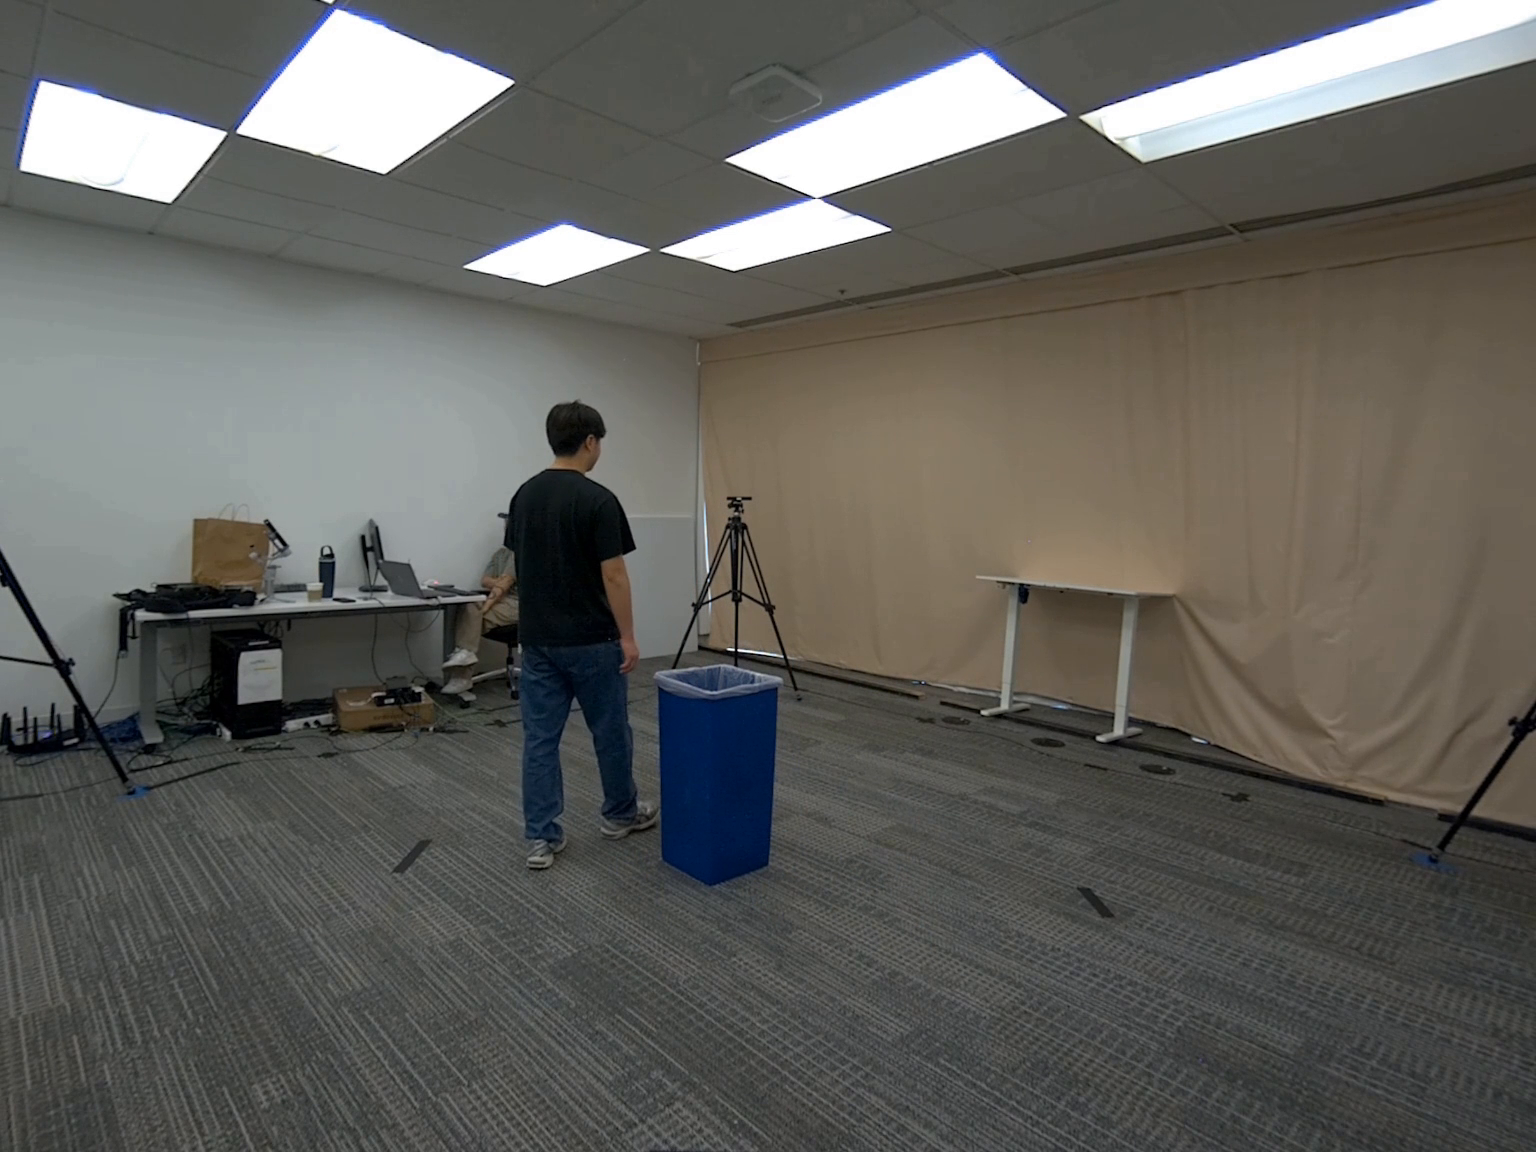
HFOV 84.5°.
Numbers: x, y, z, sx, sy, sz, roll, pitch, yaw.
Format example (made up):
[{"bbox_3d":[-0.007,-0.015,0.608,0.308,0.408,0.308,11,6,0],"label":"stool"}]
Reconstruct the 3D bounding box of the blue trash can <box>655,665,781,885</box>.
[{"bbox_3d":[-0.202,0.738,3.193,0.365,0.712,0.388,-1,4,-43],"label":"blue trash can"}]
